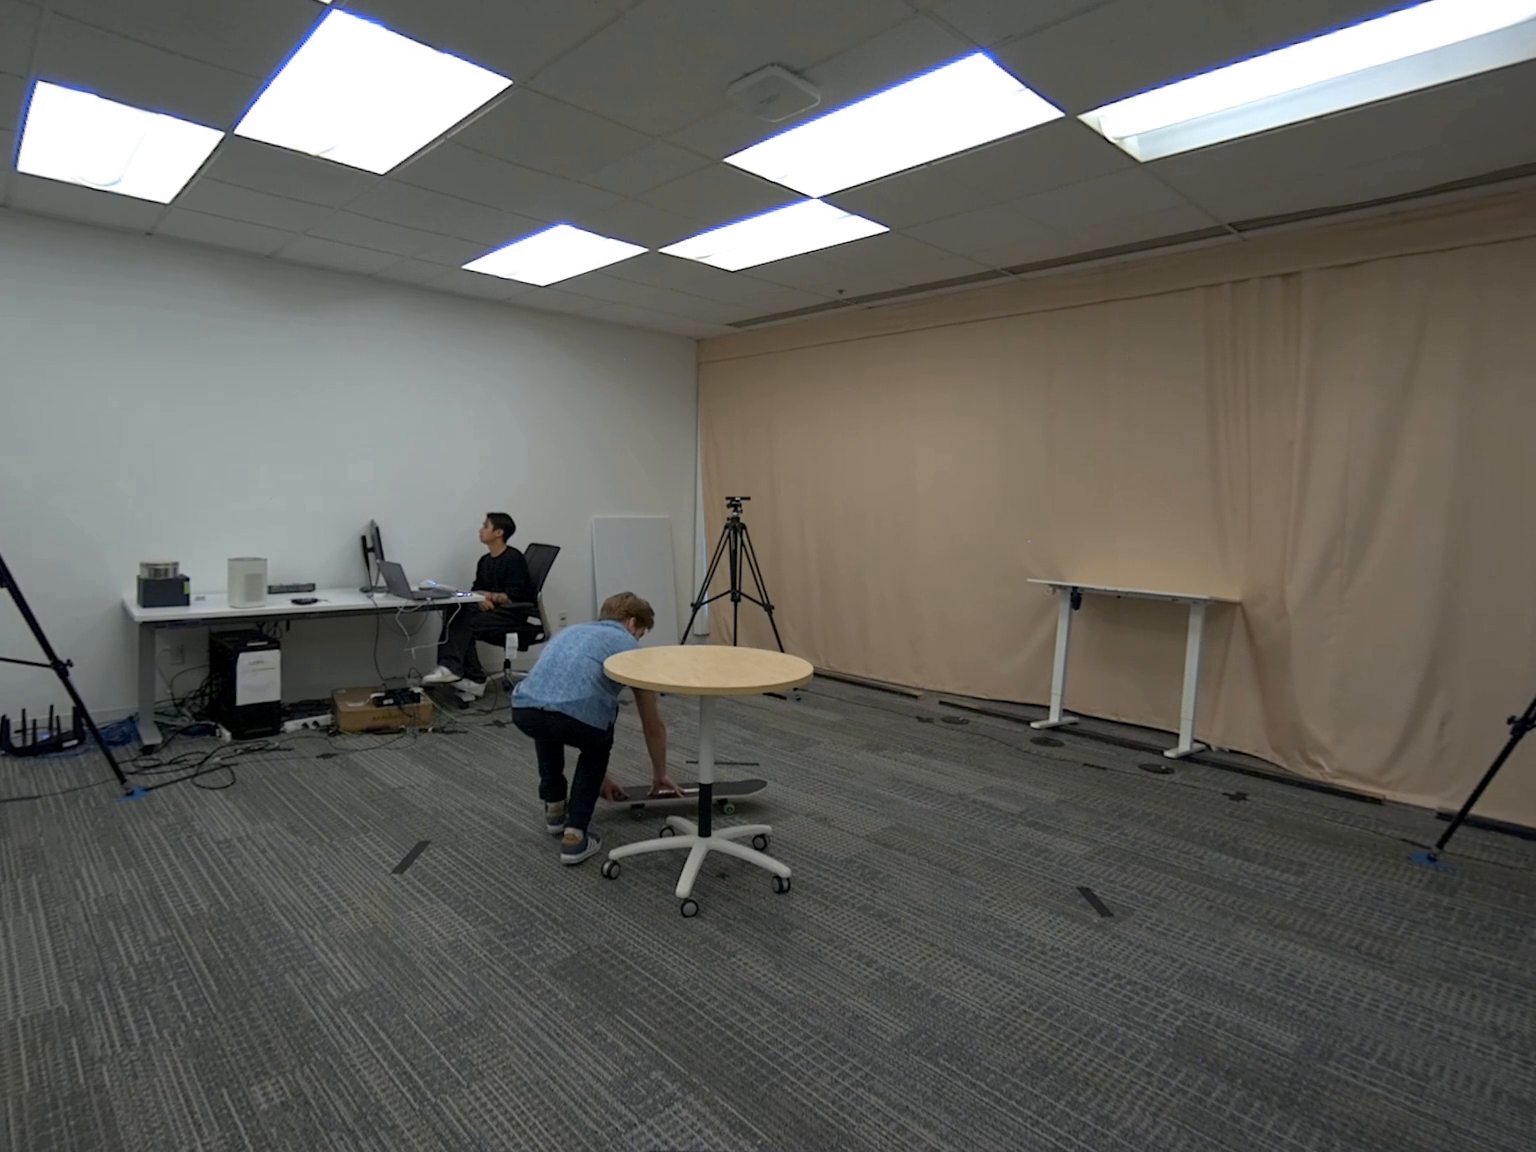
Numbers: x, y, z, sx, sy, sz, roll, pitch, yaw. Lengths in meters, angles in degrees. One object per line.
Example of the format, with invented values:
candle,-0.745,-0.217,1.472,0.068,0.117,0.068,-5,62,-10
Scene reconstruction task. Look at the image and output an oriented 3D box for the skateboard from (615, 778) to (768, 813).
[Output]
skateboard,-0.397,0.987,3.736,0.778,0.110,0.196,0,6,-12
